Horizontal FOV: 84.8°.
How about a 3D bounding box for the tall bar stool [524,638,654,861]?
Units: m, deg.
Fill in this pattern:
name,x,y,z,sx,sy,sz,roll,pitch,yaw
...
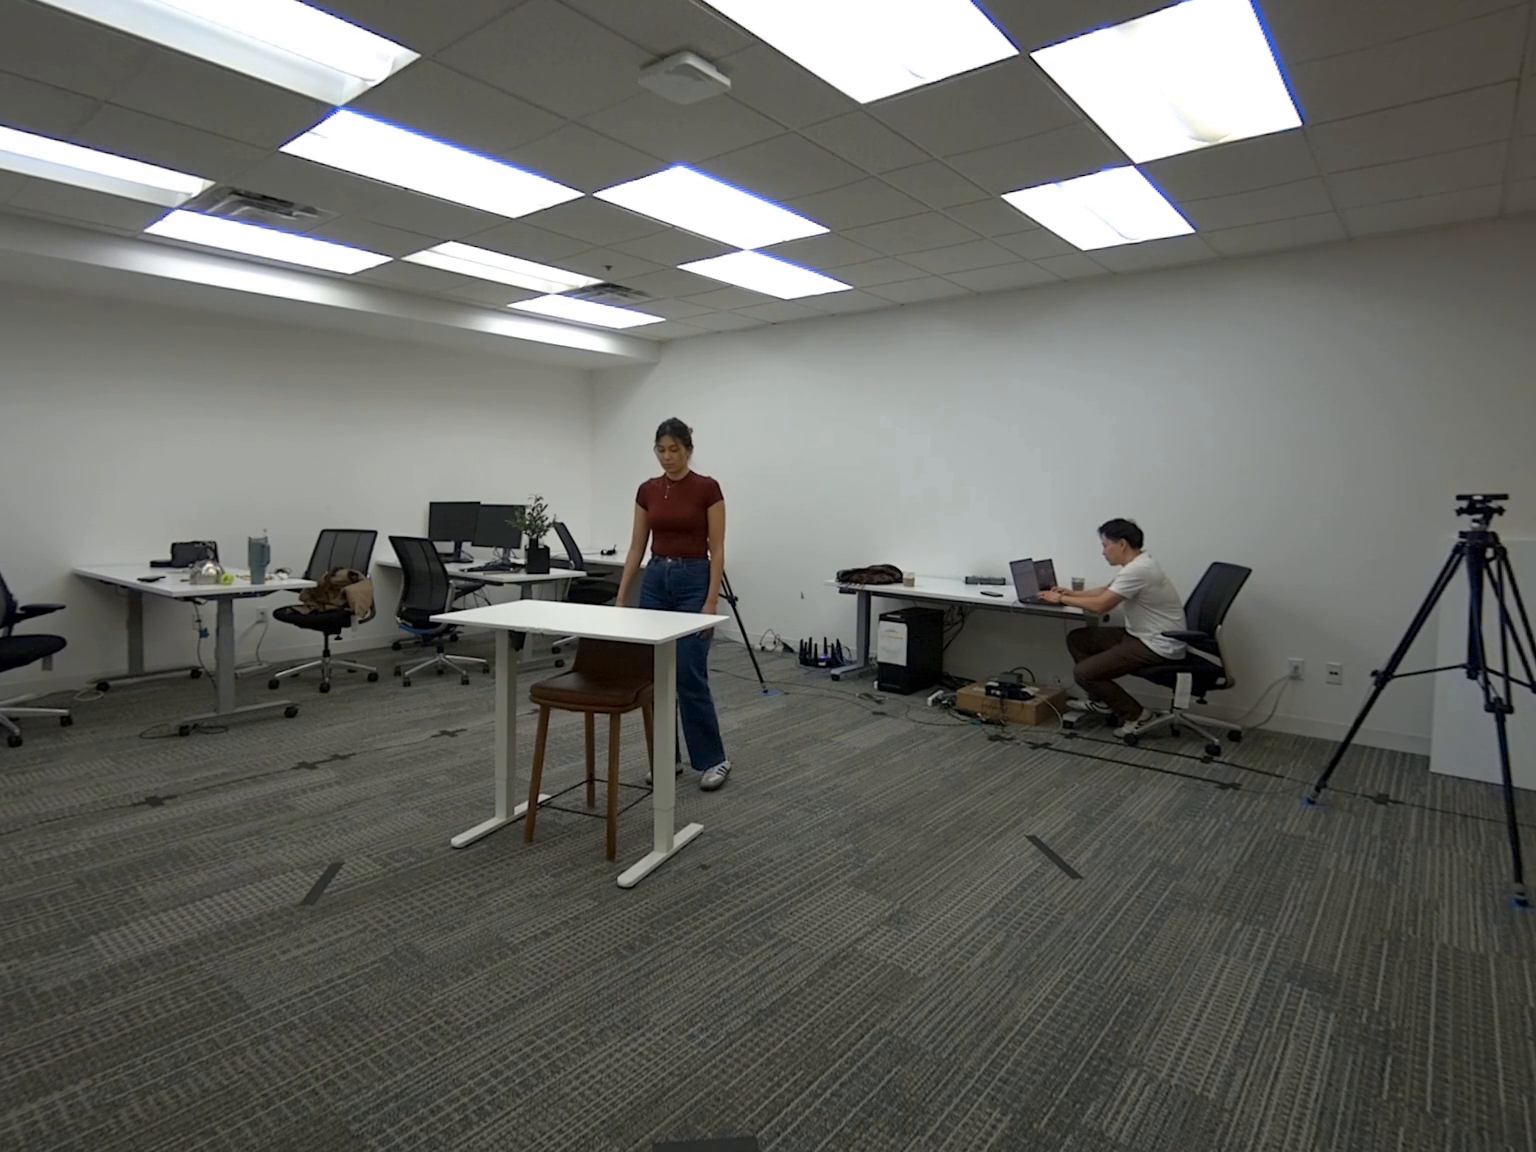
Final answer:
name,x,y,z,sx,sy,sz,roll,pitch,yaw
tall bar stool,-0.689,0.600,3.419,0.467,0.889,0.457,2,1,22
